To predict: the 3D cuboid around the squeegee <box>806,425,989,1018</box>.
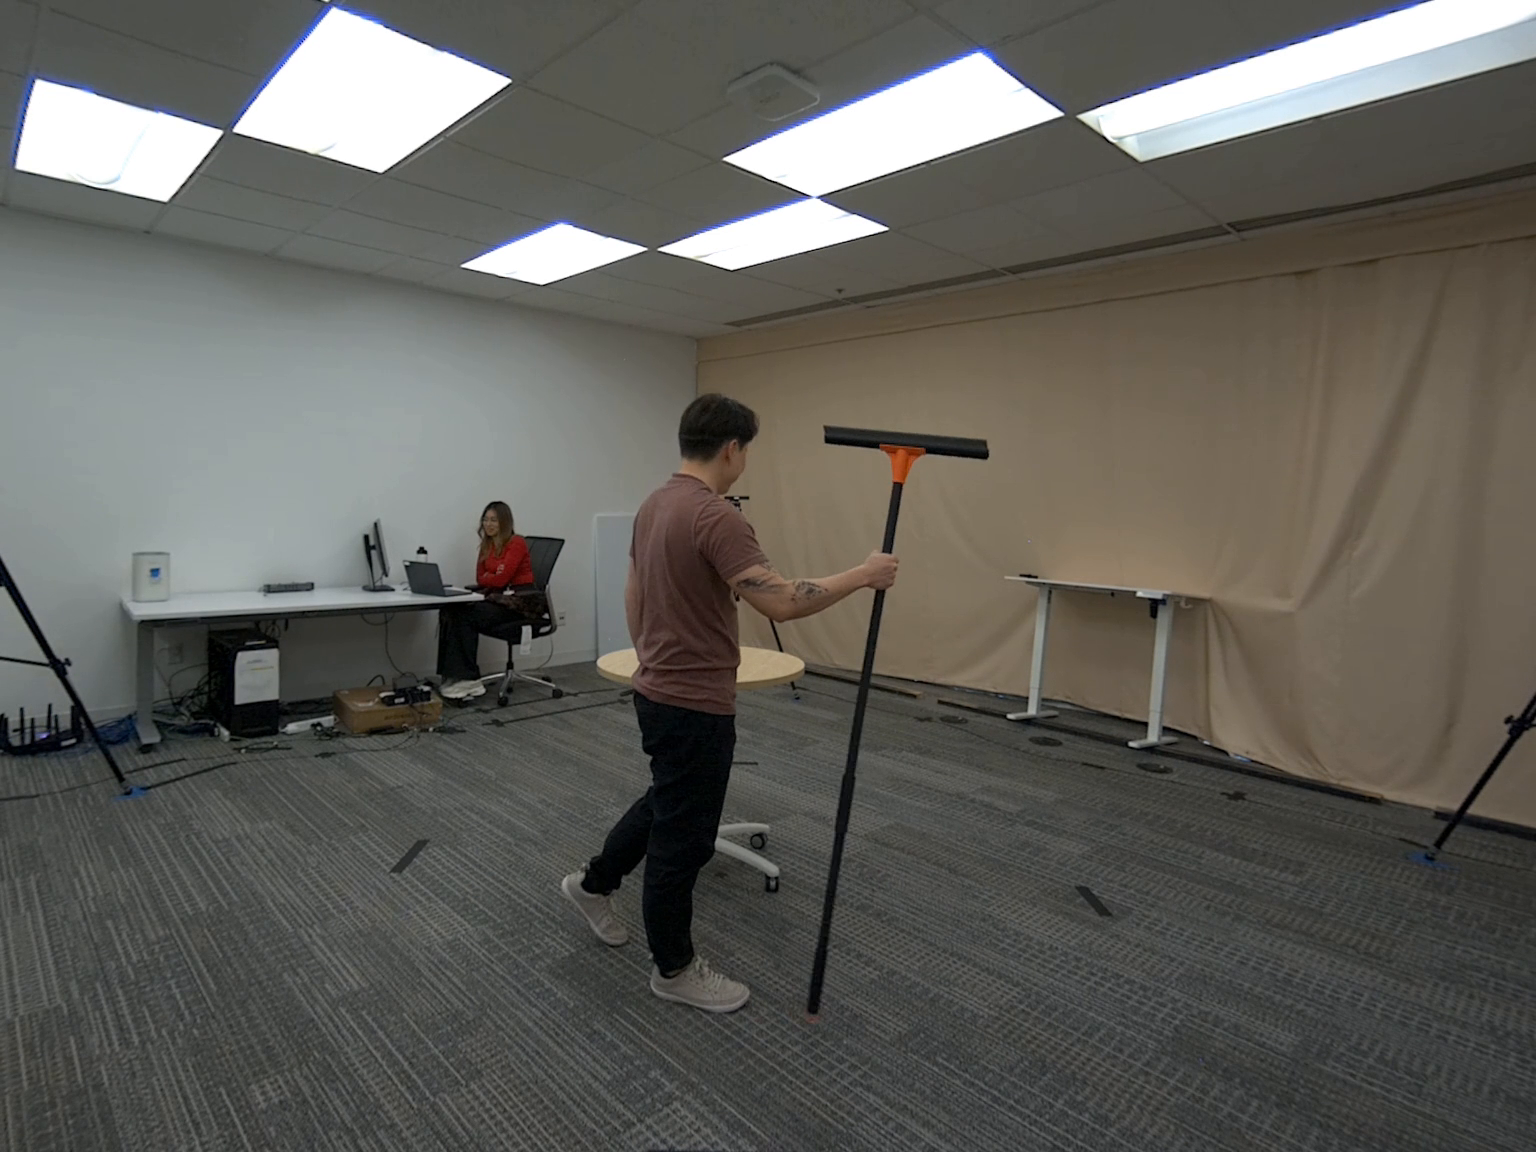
[{"bbox_3d":[0.222,0.402,2.160,0.448,1.535,0.052,9,2,30],"label":"squeegee"}]
